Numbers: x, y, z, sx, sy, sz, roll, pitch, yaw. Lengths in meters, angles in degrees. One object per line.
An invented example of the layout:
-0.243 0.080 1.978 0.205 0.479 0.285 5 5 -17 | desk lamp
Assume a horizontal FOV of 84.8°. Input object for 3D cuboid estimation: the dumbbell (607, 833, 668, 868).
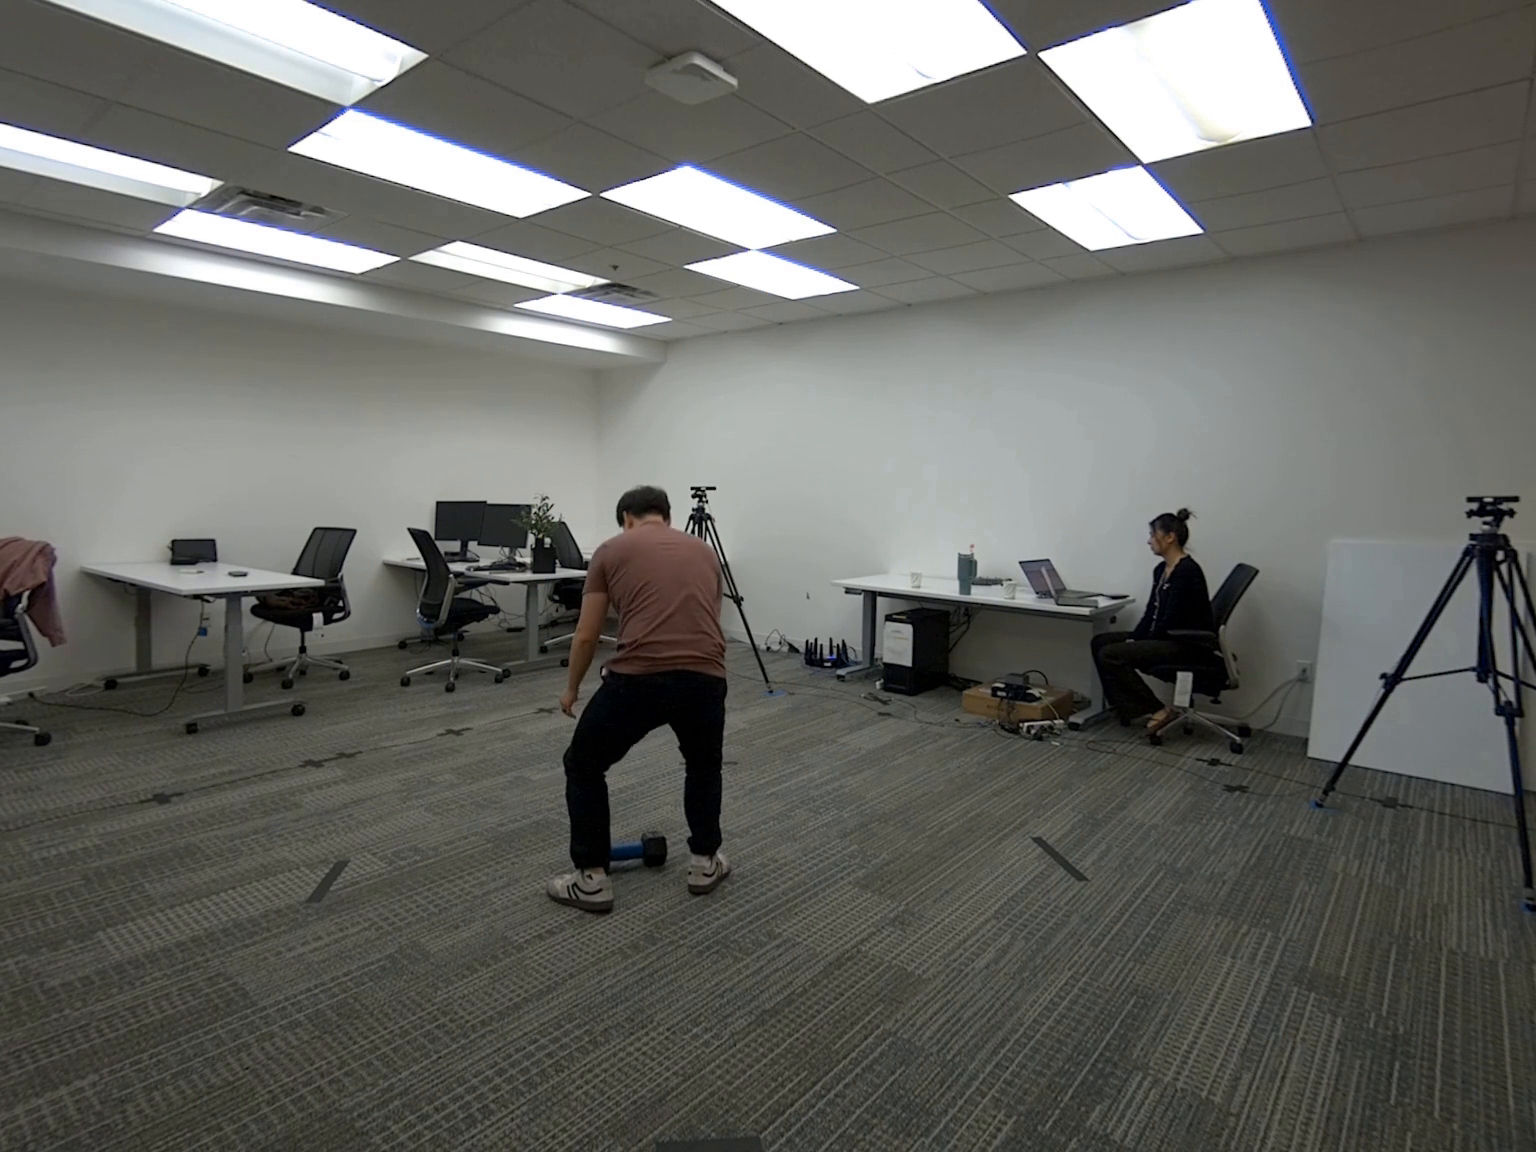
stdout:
-0.529 1.010 3.120 0.289 0.108 0.125 -3 4 -14 | dumbbell
